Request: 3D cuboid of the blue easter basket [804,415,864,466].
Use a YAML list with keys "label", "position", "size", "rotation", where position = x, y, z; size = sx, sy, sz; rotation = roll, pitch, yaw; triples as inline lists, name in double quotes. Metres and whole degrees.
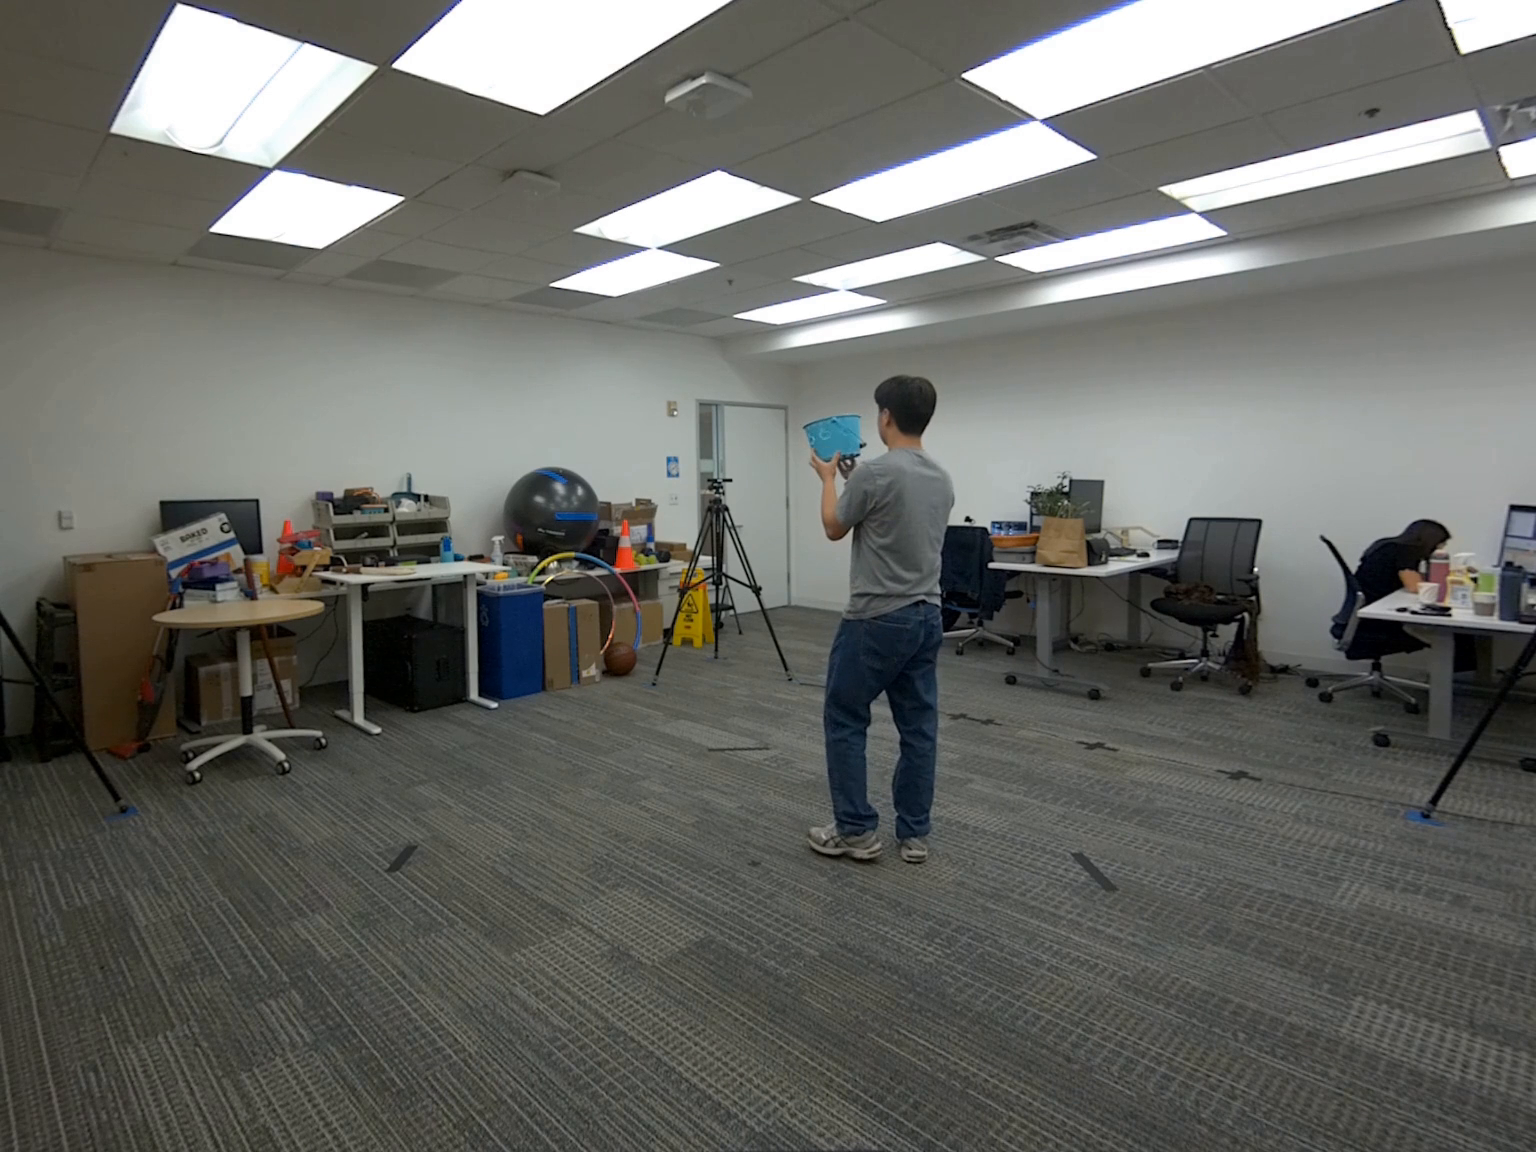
- label: "blue easter basket"
  position: [0.284, -0.551, 3.427]
  size: [0.243, 0.156, 0.243]
  rotation: [-8, -1, -2]
